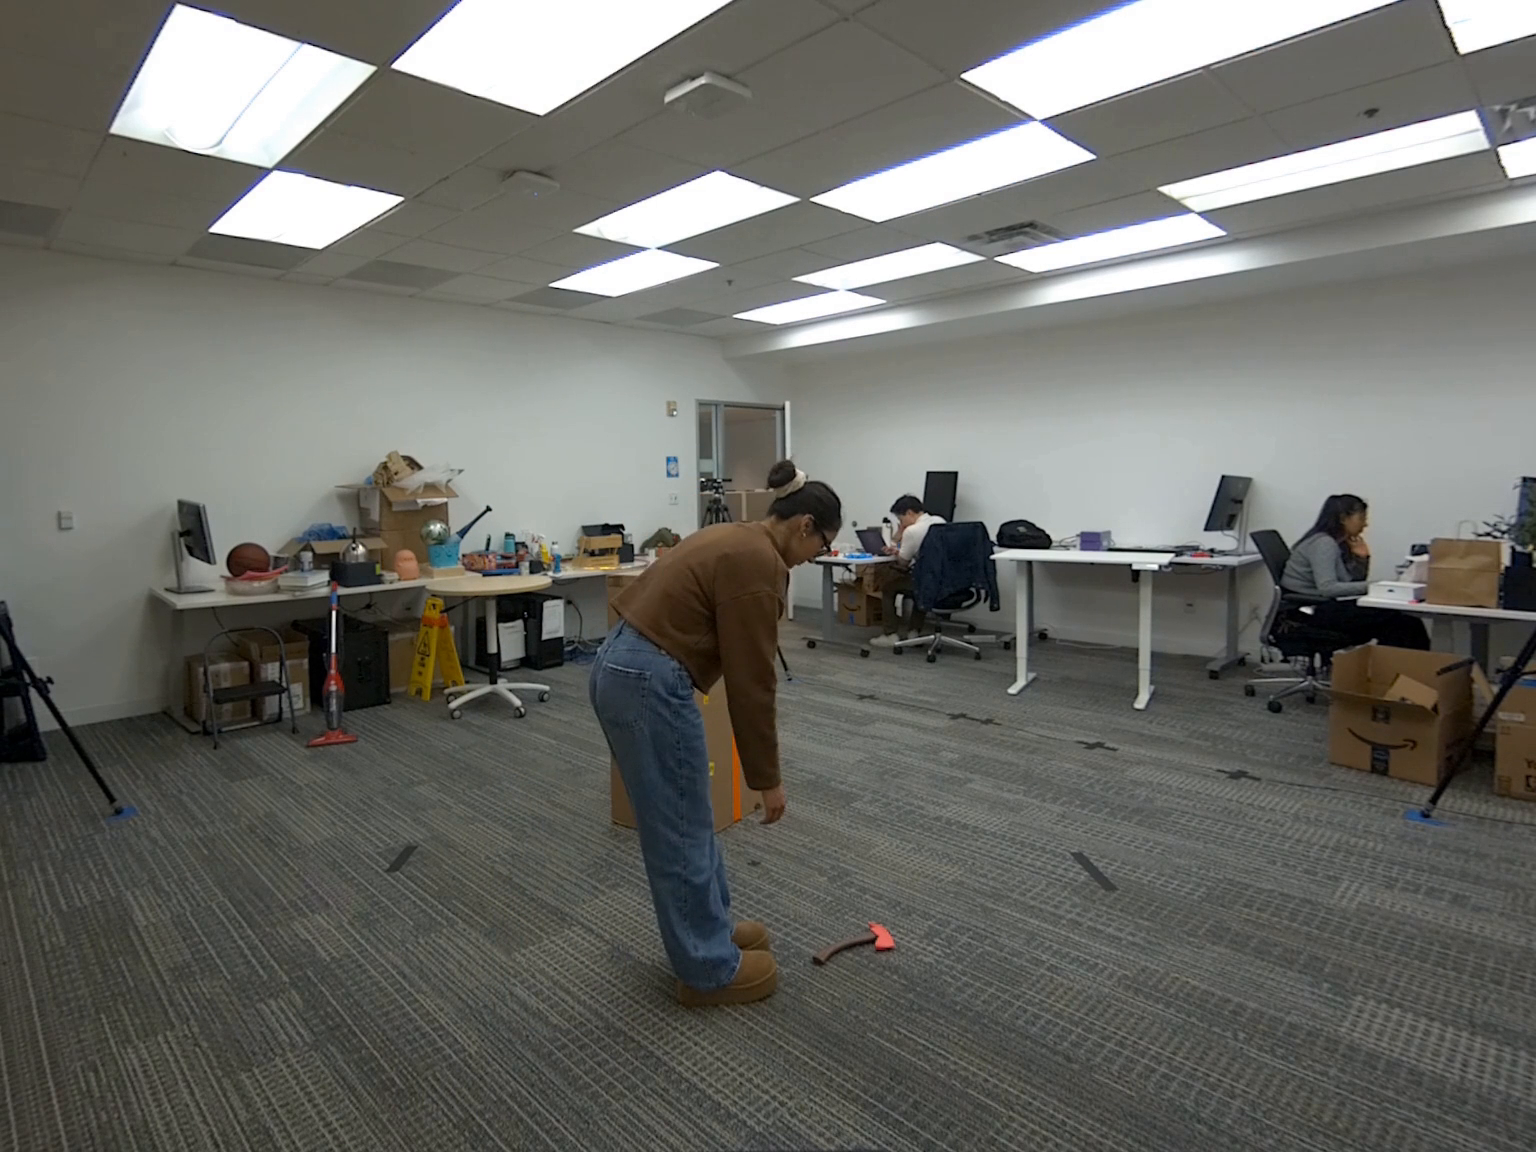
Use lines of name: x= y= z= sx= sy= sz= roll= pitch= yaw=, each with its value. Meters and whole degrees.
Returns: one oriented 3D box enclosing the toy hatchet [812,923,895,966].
toy hatchet: x=0.276 y=1.101 z=2.508 sx=0.263 sy=0.029 sz=0.135 roll=-9 pitch=12 yaw=-41
